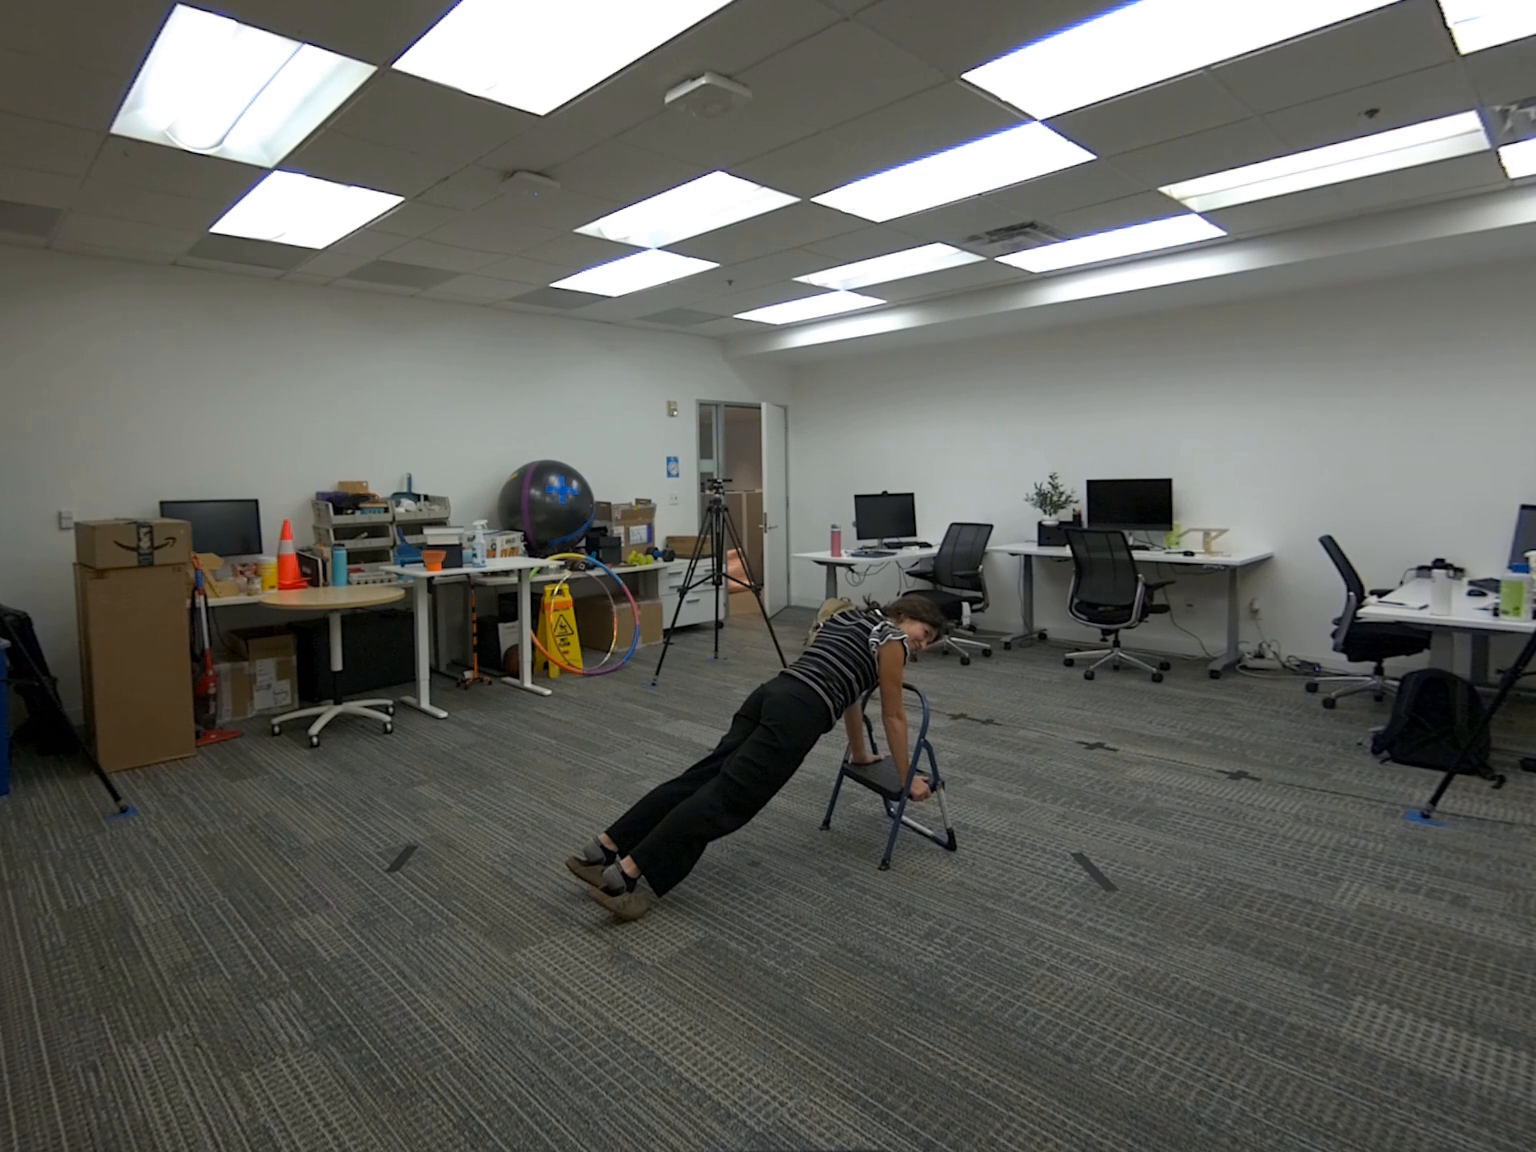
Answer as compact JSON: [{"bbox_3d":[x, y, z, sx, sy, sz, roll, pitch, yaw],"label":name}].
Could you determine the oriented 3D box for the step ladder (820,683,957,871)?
[{"bbox_3d":[0.456,0.717,3.279,0.341,0.604,0.442,-2,5,-28],"label":"step ladder"}]
